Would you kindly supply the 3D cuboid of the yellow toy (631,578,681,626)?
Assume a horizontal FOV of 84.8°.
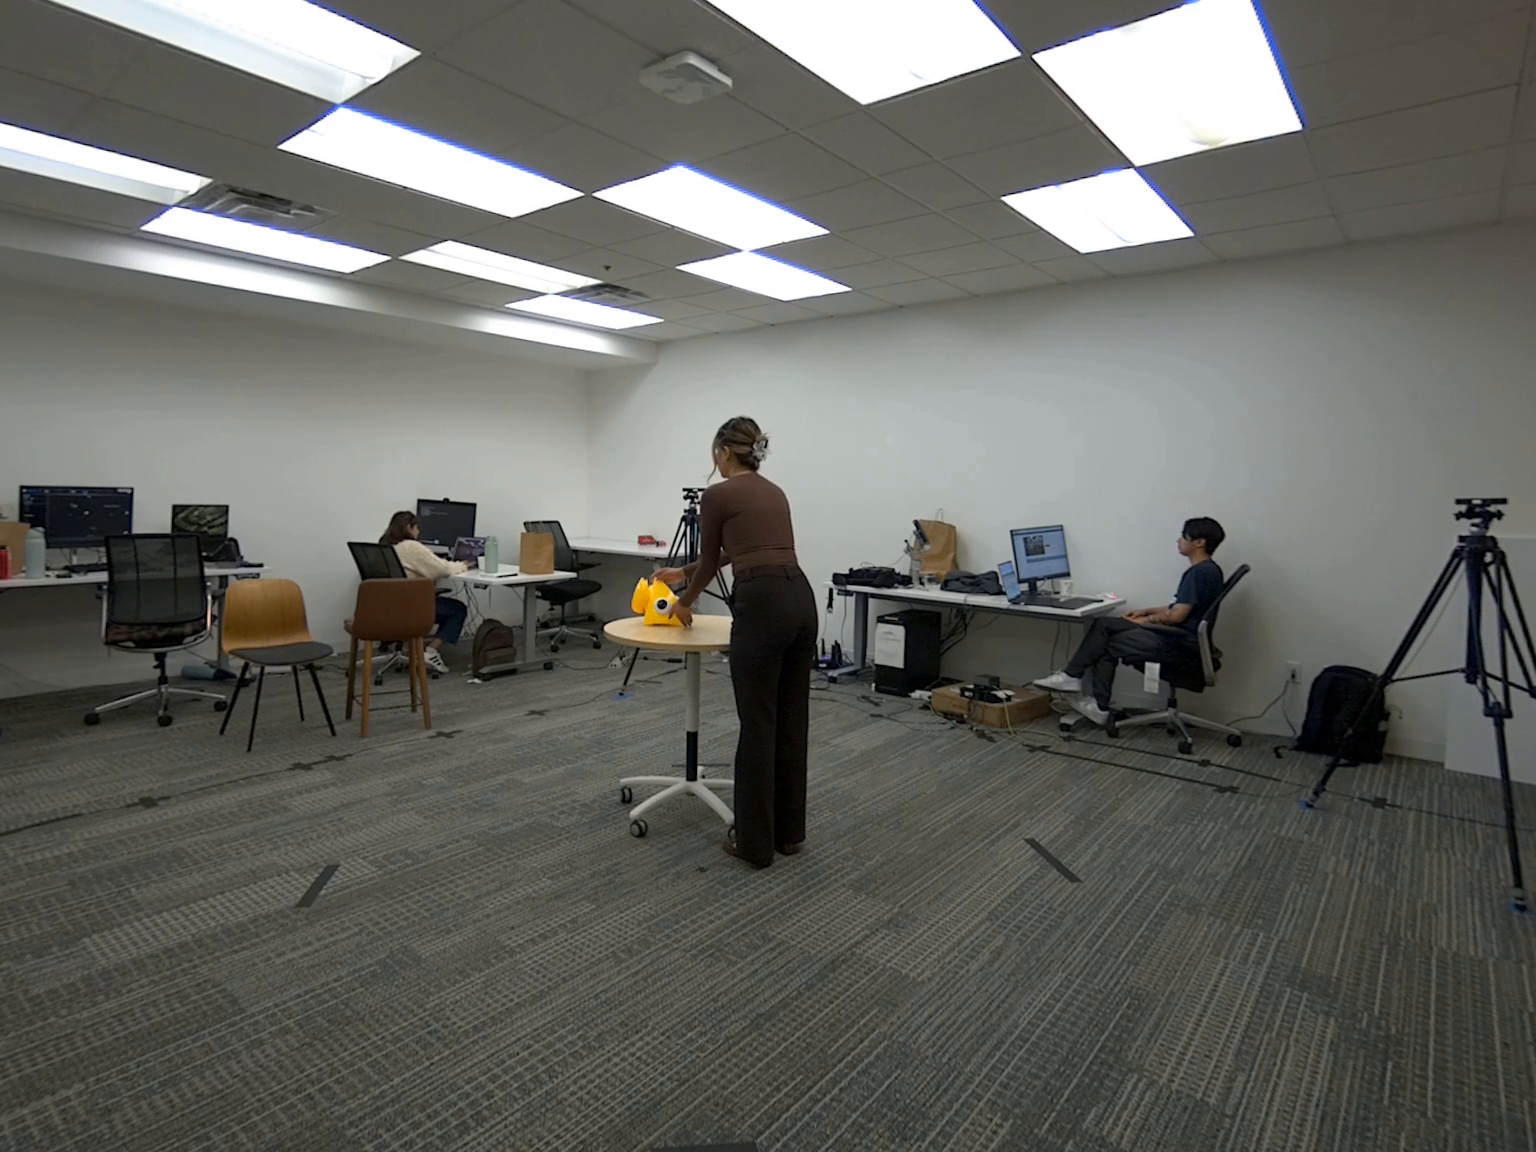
[{"bbox_3d":[-0.455,0.123,3.714,0.238,0.191,0.199,19,12,28],"label":"yellow toy"}]
